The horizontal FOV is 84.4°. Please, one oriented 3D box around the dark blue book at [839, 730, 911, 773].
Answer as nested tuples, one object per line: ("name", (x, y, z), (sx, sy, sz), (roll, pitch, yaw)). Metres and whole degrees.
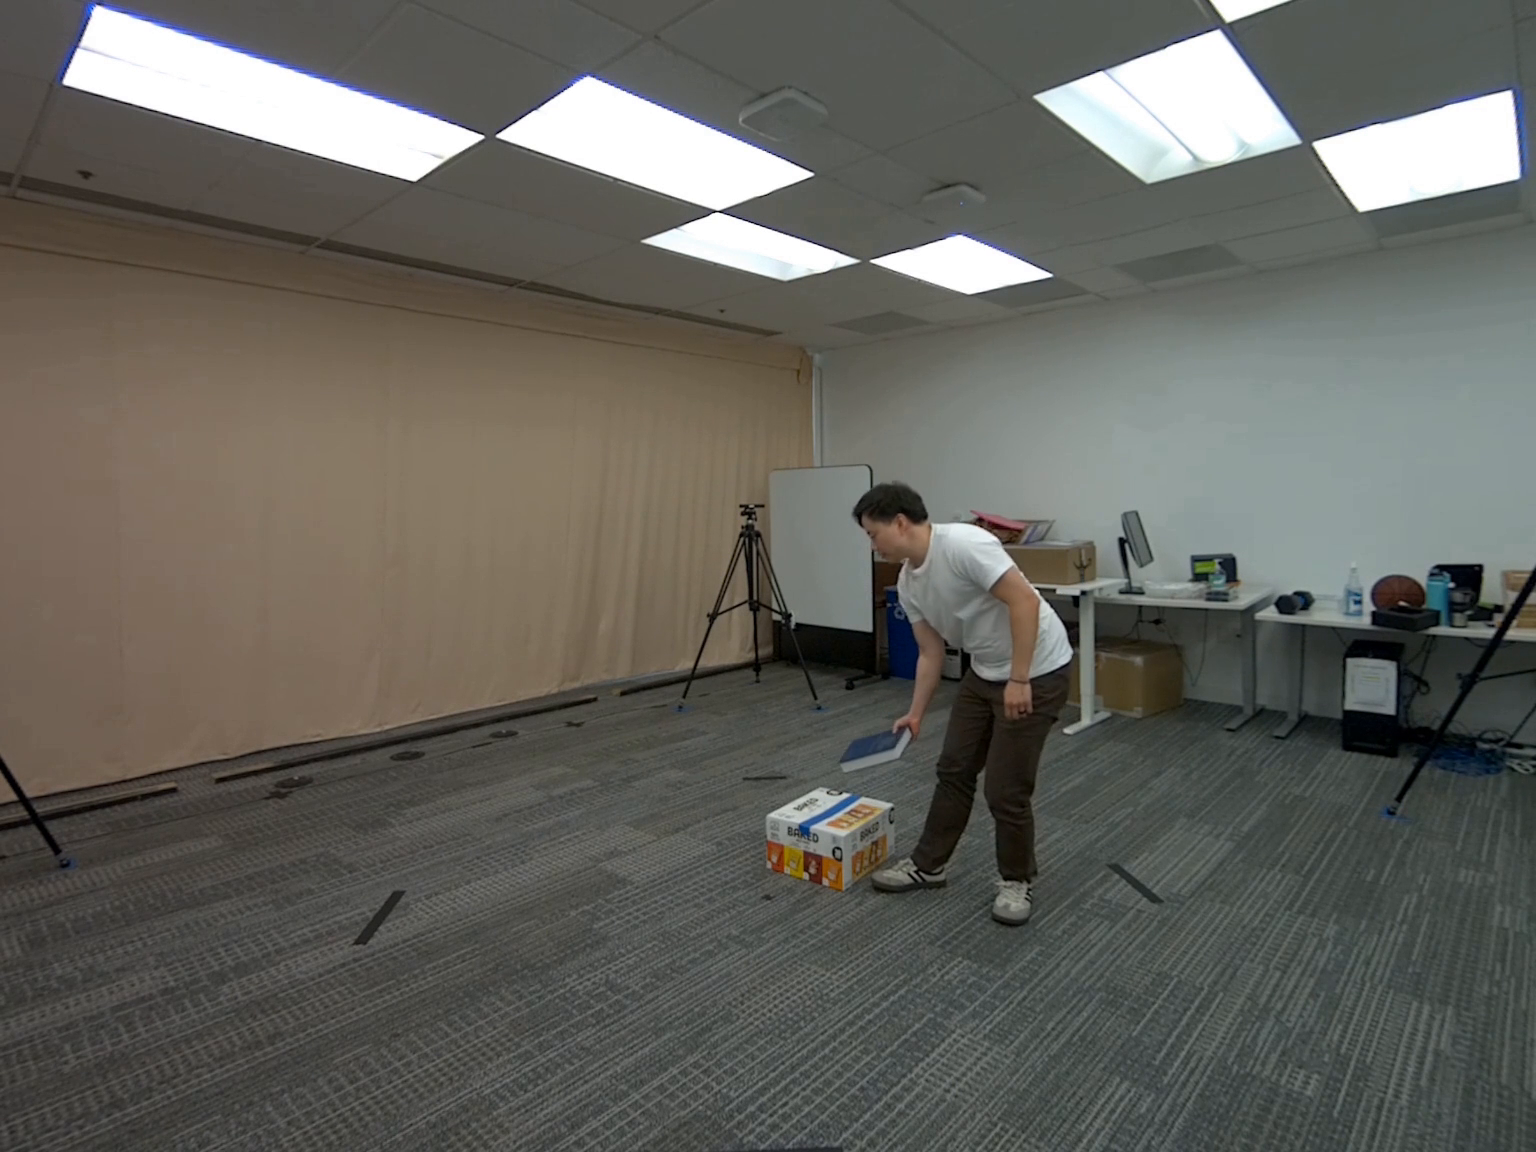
("dark blue book", (0.387, 0.631, 3.064), (0.250, 0.045, 0.161), (-24, 8, 36))
